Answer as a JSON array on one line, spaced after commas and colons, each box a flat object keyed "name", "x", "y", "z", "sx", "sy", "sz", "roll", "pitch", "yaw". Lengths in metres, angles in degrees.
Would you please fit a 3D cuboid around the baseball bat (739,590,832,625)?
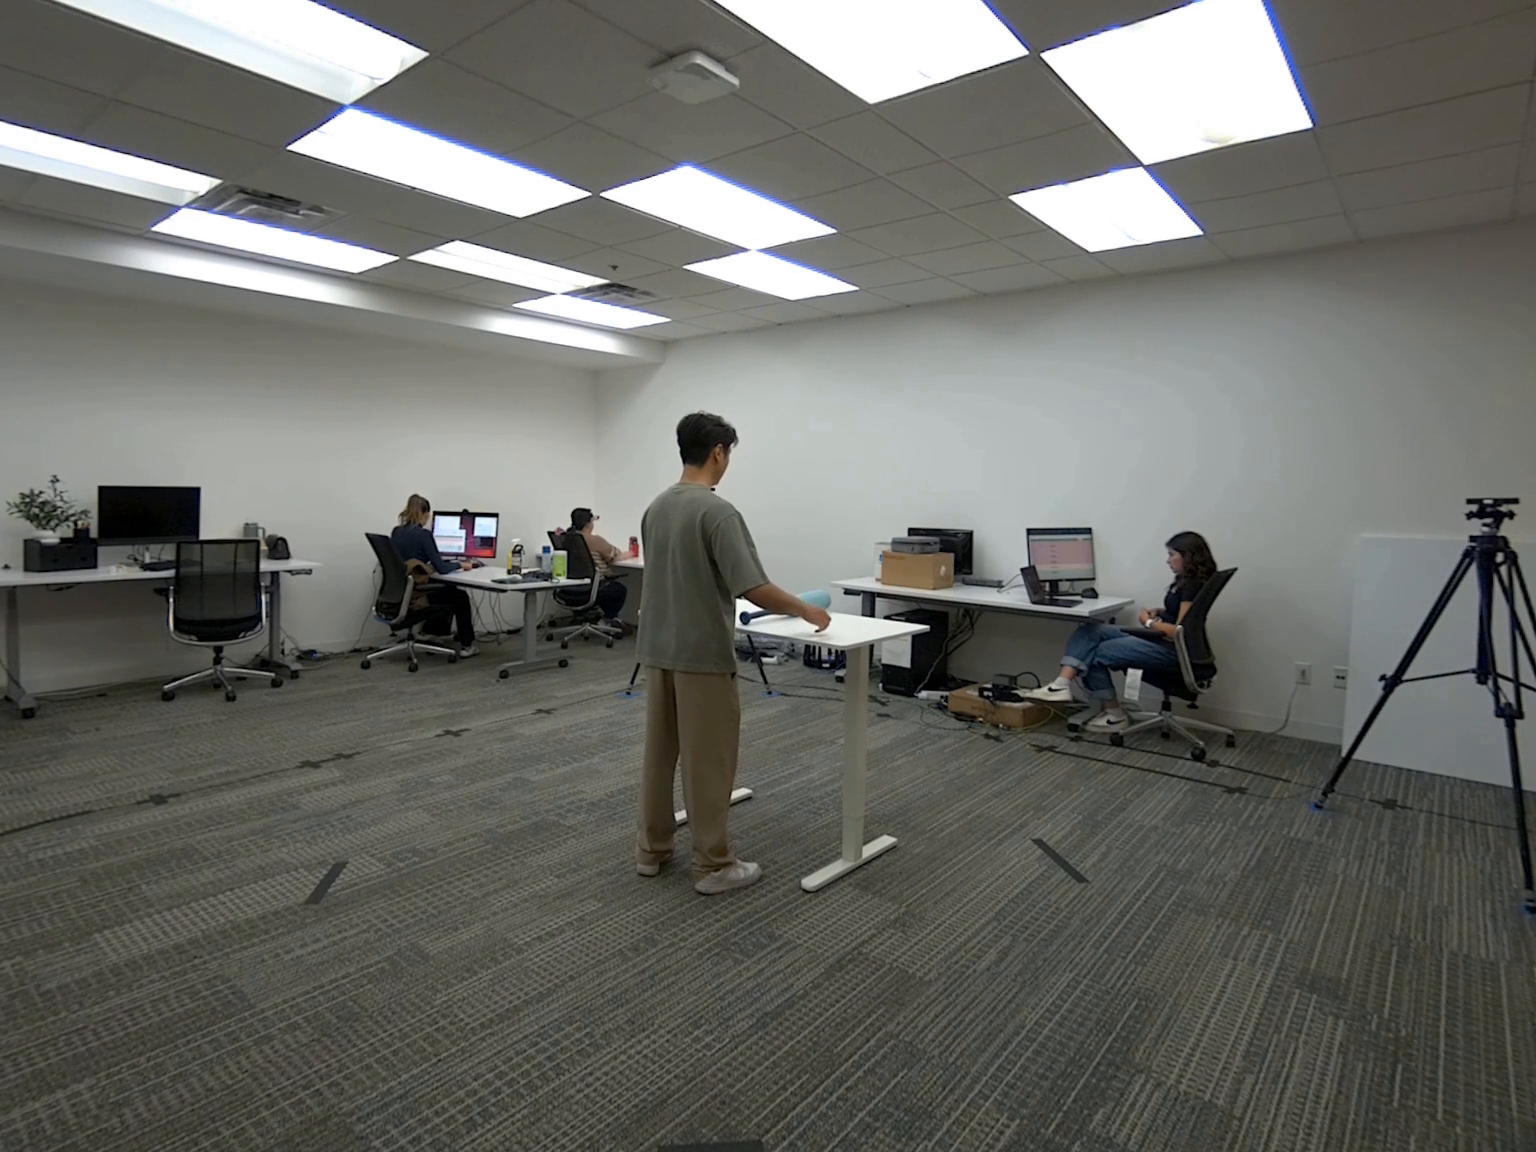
[{"name": "baseball bat", "x": 0.067, "y": 0.129, "z": 3.375, "sx": 0.092, "sy": 0.088, "sz": 0.529, "roll": 4, "pitch": 10, "yaw": 37}]
